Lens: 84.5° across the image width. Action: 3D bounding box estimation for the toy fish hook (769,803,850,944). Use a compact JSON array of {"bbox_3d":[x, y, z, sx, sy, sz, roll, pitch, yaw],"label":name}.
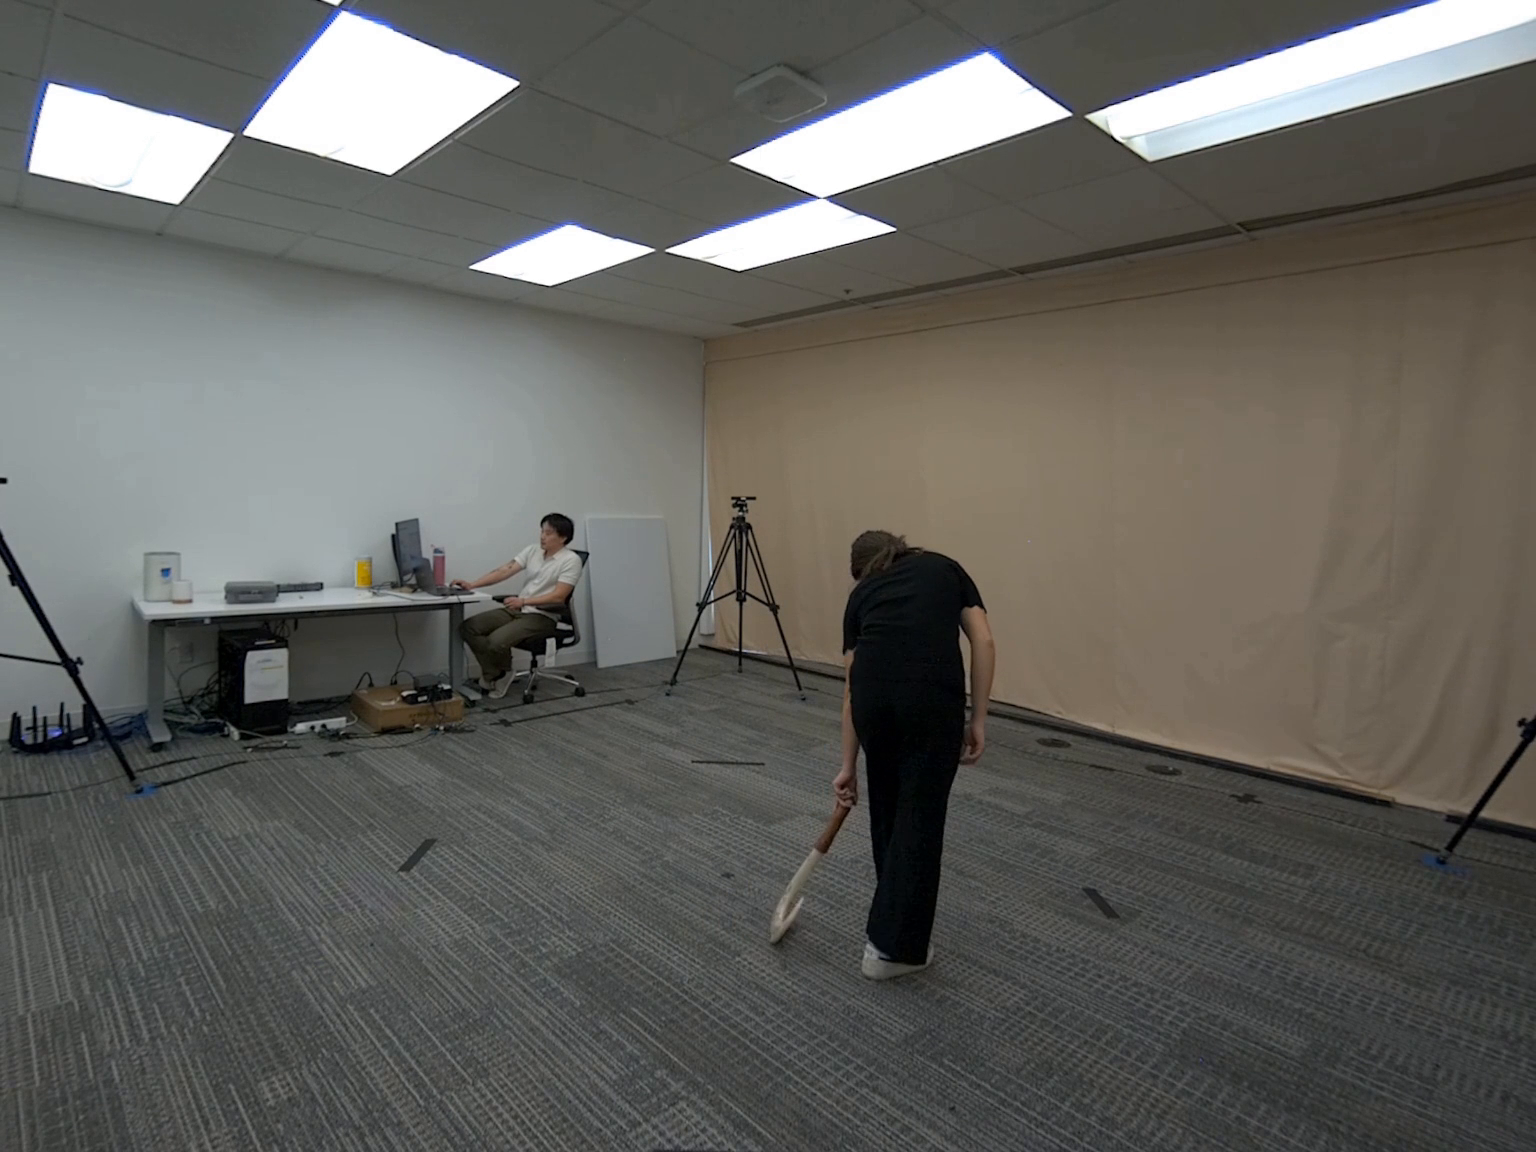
[{"bbox_3d":[0.132,0.927,2.650,0.048,0.506,0.225,28,5,-2],"label":"toy fish hook"}]
